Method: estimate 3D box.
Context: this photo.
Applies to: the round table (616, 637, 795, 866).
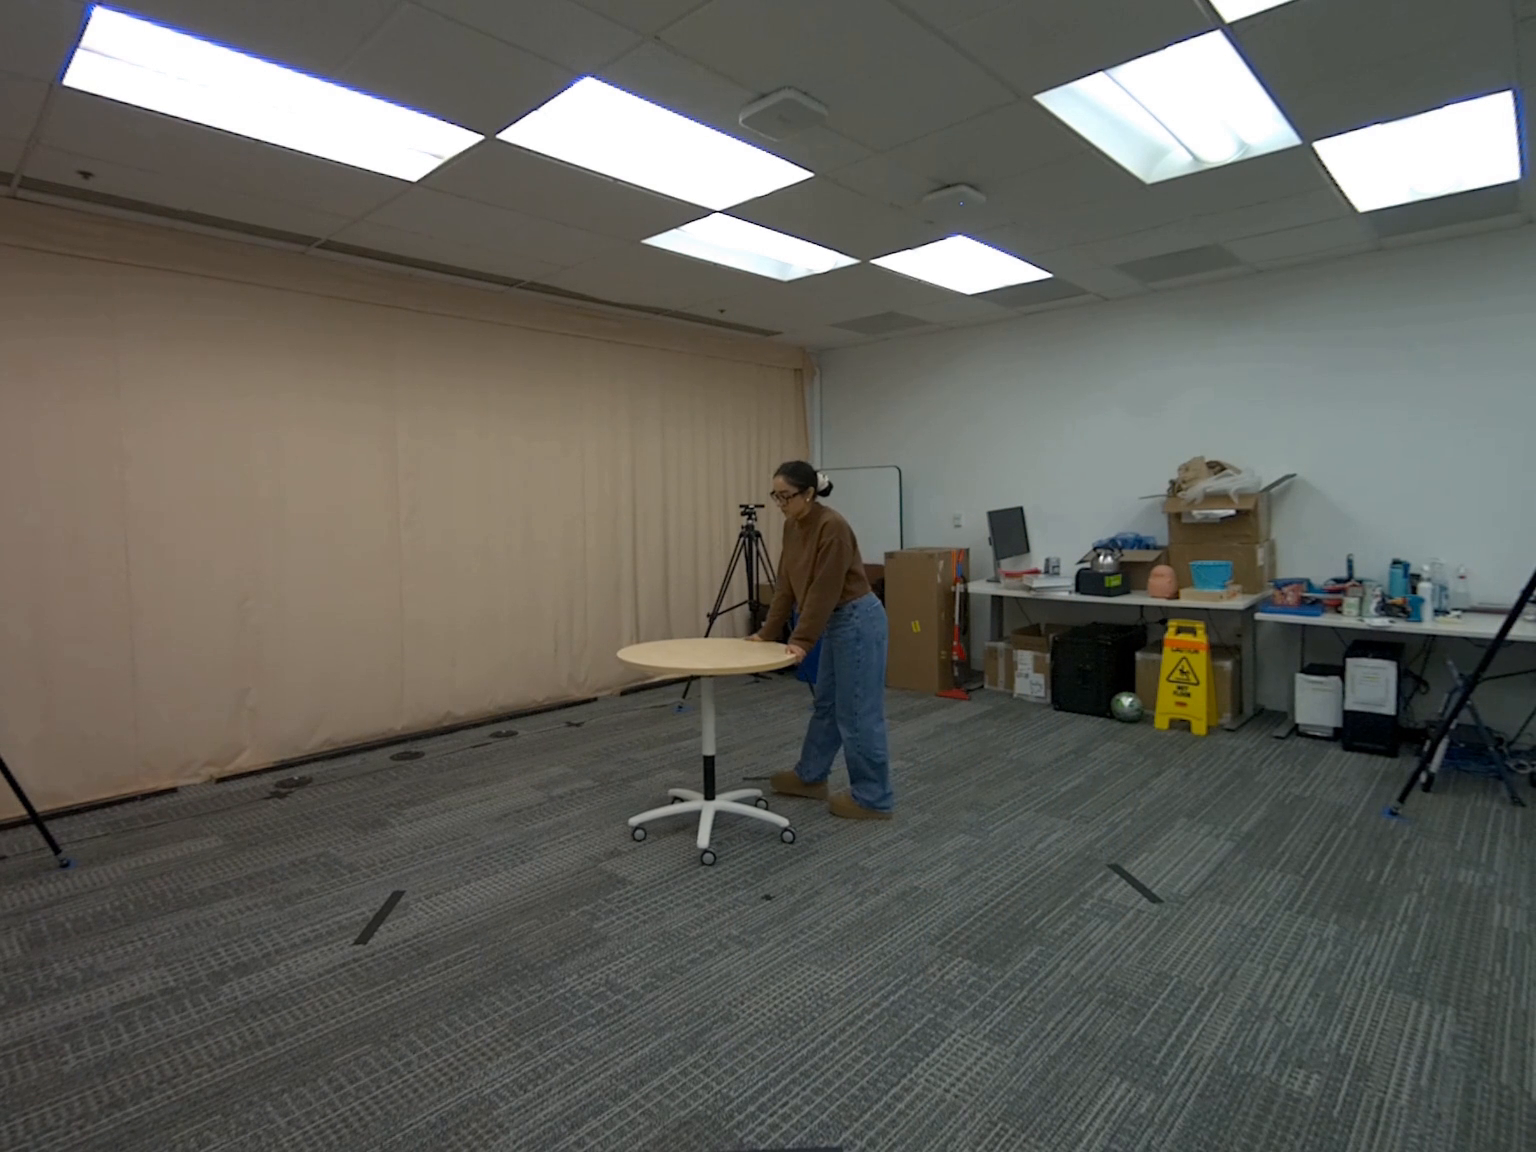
[{"bbox_3d":[-0.245,0.707,3.584,0.763,0.792,0.766,-1,4,-2],"label":"round table"}]
